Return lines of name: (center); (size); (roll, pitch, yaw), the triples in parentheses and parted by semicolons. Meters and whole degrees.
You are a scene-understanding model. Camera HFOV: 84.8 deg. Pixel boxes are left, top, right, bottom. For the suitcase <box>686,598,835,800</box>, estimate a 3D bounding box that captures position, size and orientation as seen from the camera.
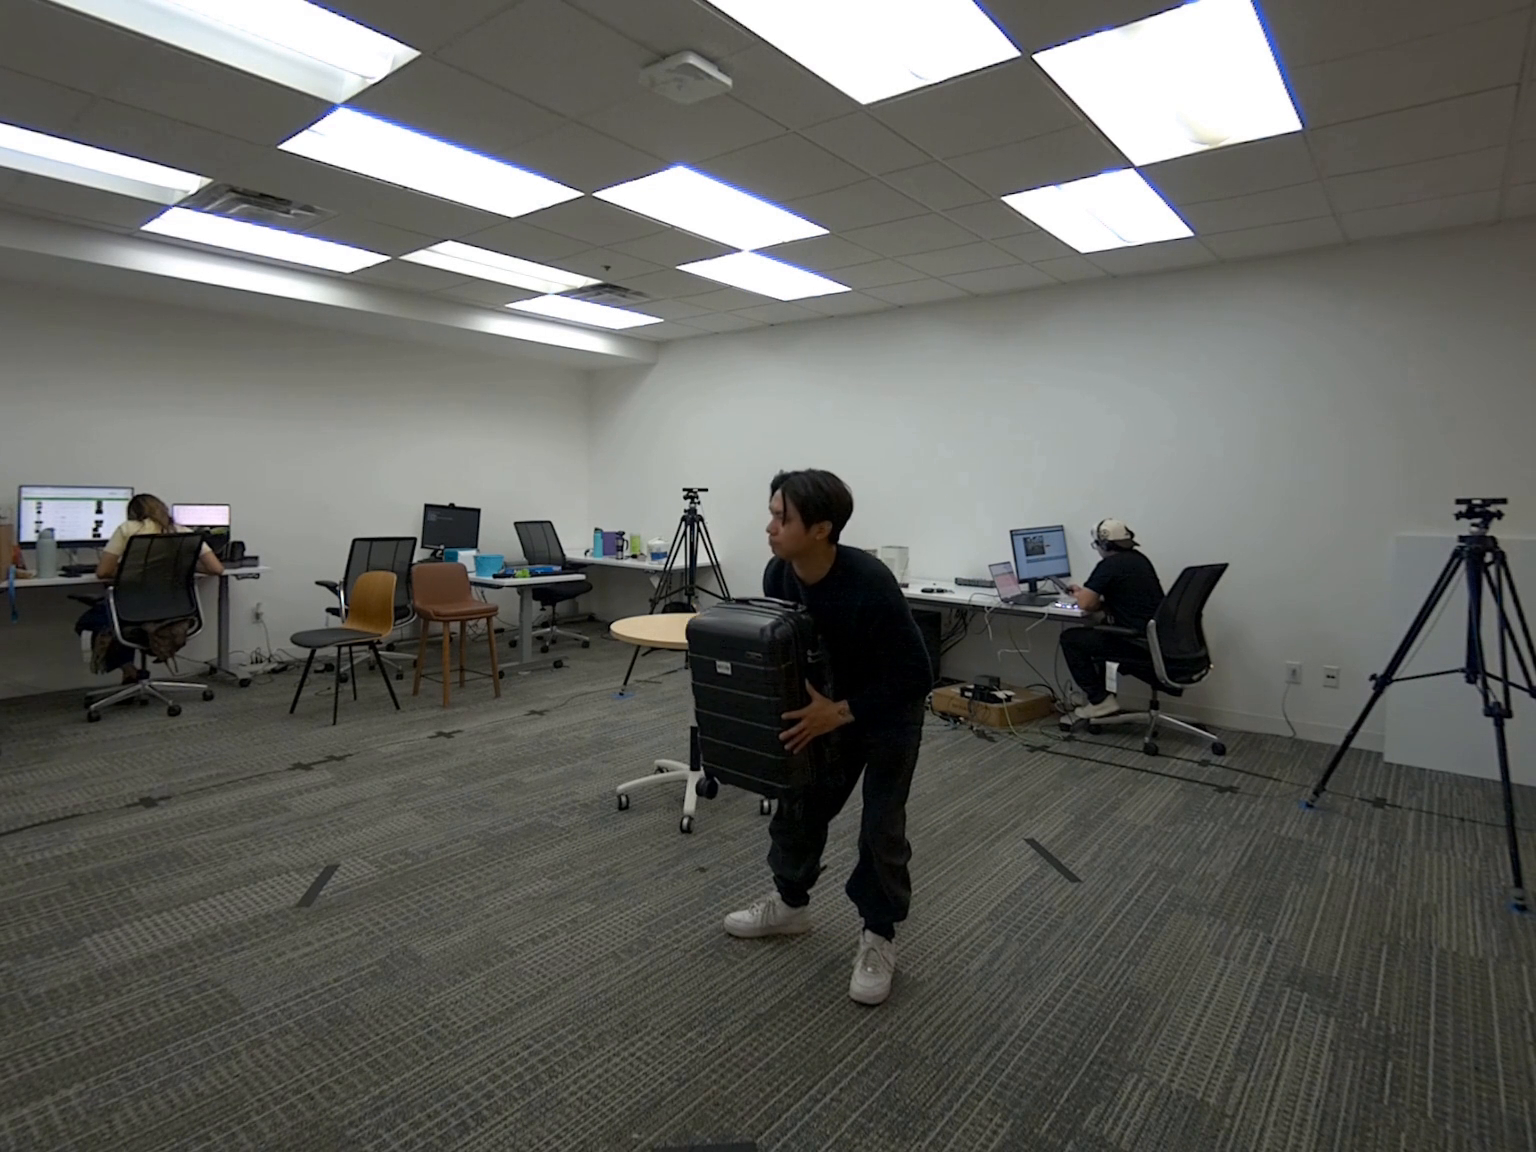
suitcase: (-0.026, 0.339, 2.358); (0.388, 0.543, 0.243); (5, 15, 42)
